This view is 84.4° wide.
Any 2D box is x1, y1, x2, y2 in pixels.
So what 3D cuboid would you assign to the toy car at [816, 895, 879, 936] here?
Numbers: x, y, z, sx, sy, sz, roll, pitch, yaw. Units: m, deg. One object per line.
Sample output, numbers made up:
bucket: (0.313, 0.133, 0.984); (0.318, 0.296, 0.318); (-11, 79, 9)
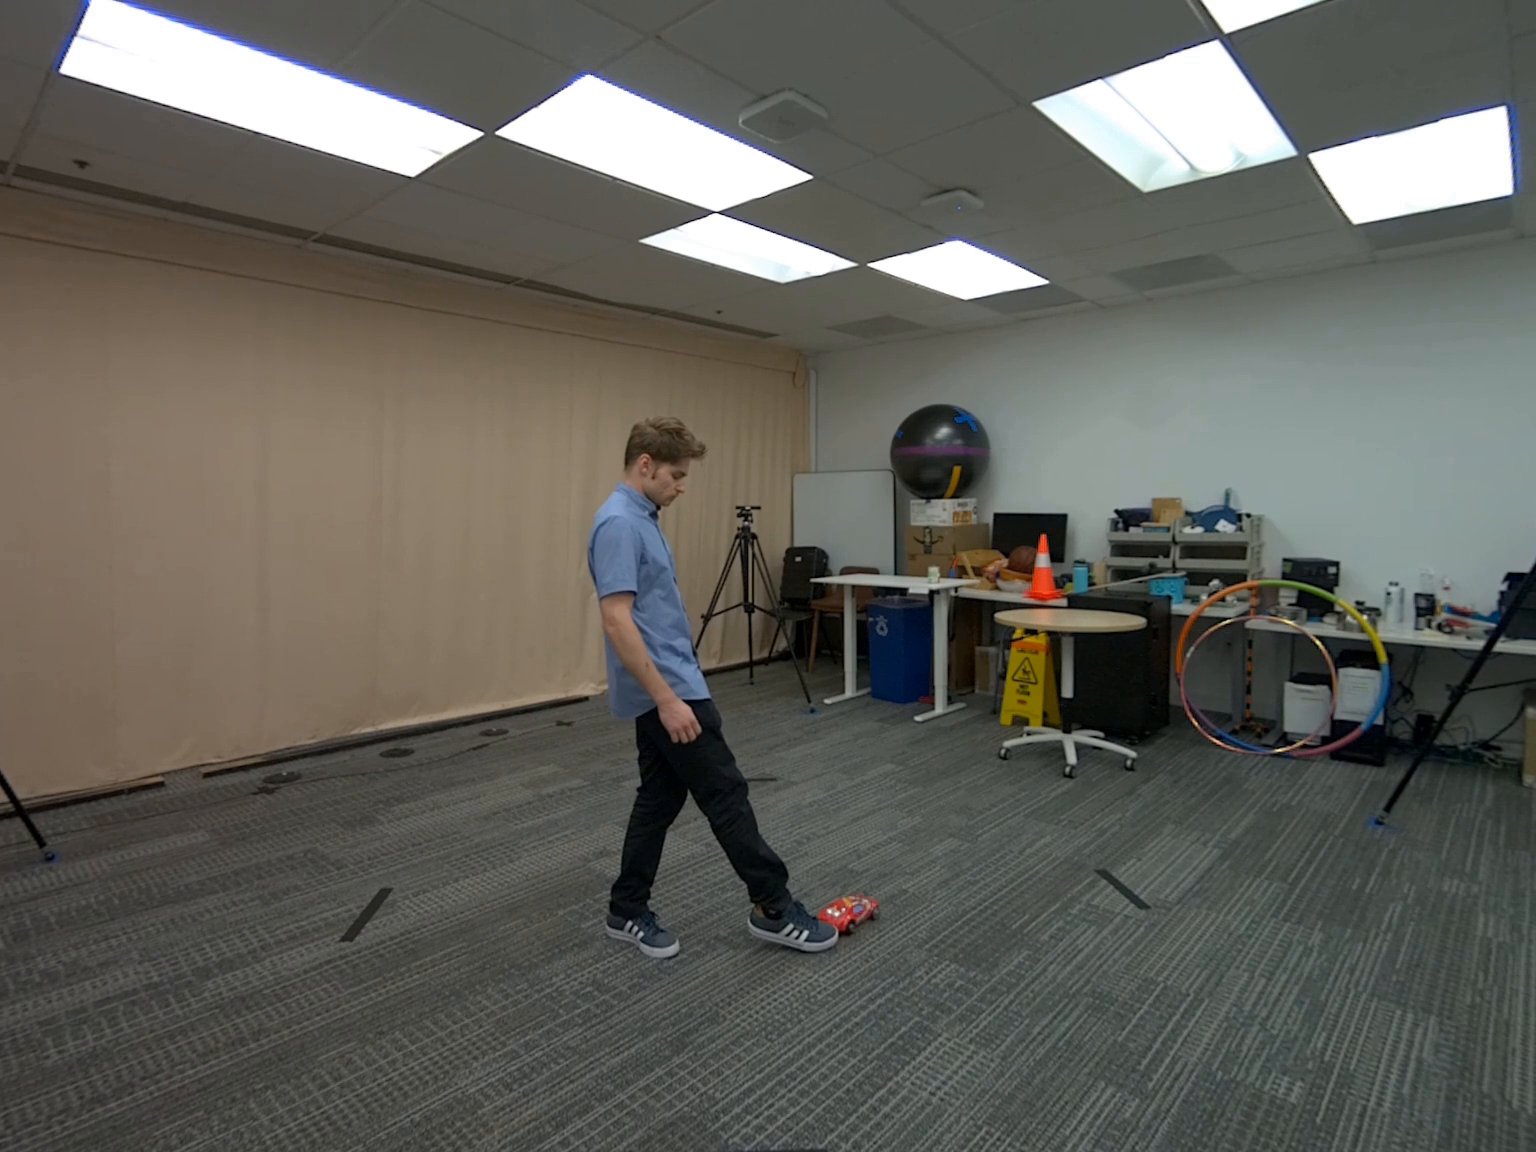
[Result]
toy car: (0.262, 1.129, 2.788); (0.134, 0.083, 0.246); (3, -6, 43)
